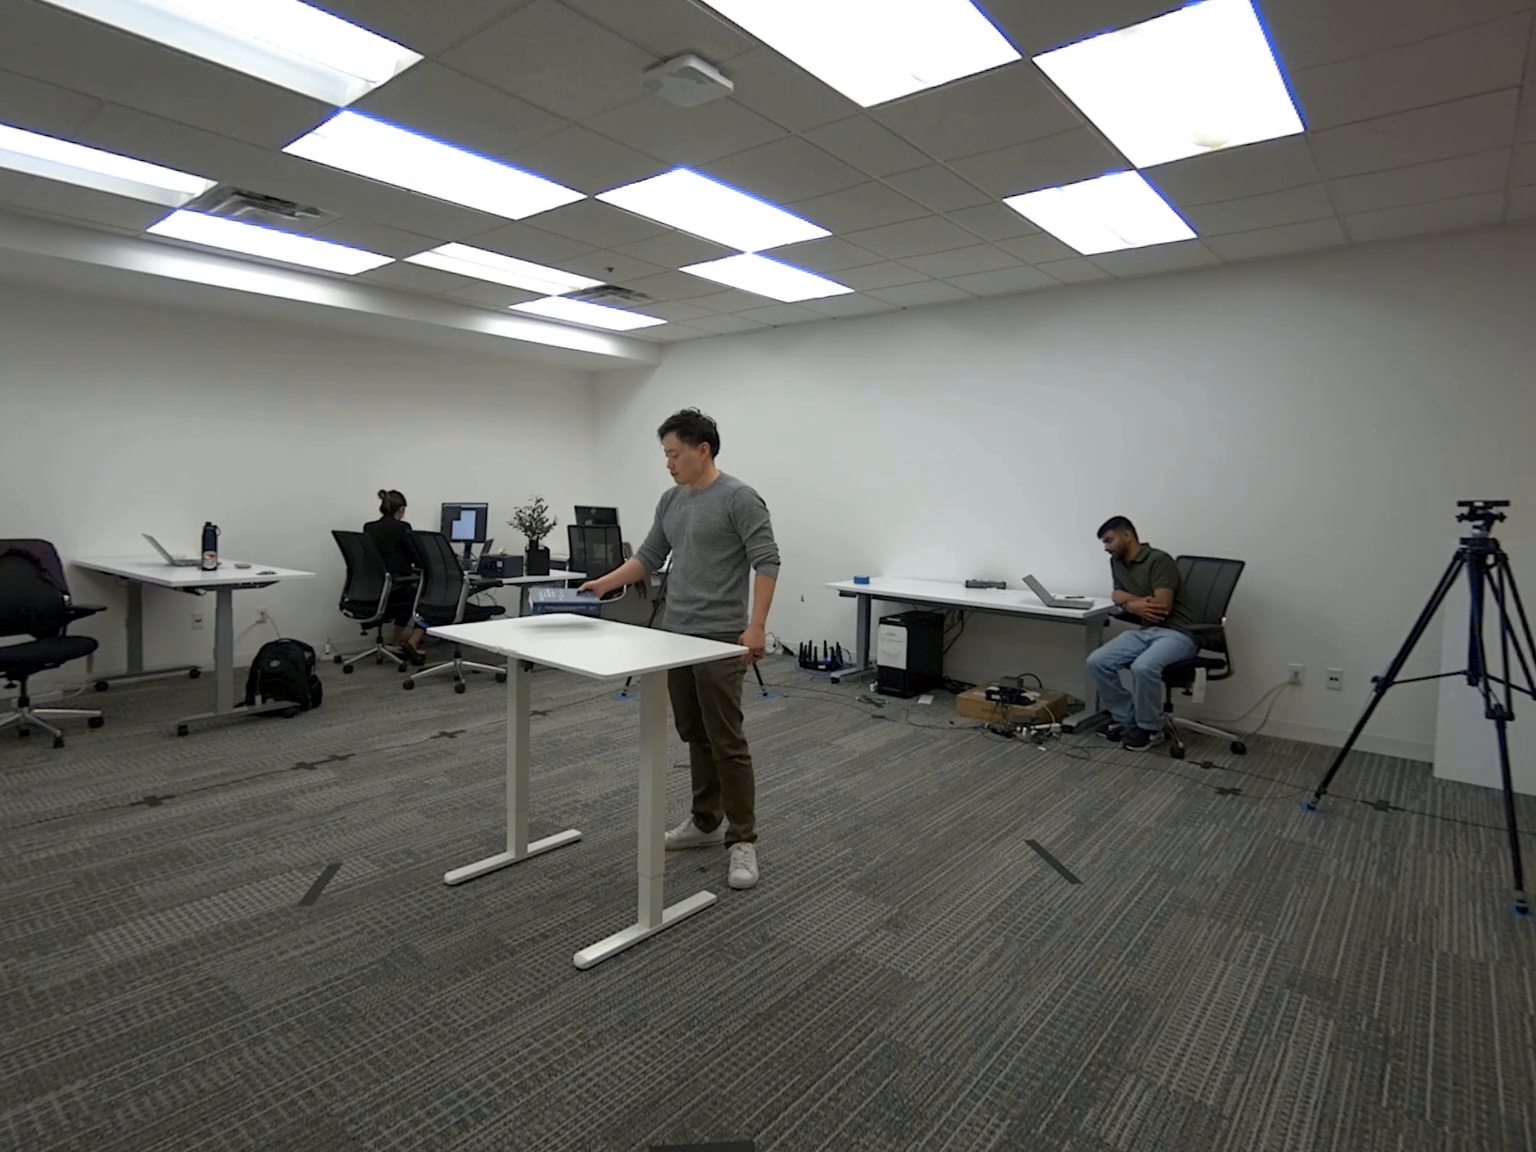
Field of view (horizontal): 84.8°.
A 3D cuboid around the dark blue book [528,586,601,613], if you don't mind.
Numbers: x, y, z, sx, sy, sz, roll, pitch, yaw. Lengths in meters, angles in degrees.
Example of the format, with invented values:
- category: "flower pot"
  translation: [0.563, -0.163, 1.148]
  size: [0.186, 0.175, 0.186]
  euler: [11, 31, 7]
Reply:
- category: "dark blue book"
  translation: [-0.760, 0.093, 3.123]
  size: [0.240, 0.044, 0.169]
  euler: [0, 17, -19]
